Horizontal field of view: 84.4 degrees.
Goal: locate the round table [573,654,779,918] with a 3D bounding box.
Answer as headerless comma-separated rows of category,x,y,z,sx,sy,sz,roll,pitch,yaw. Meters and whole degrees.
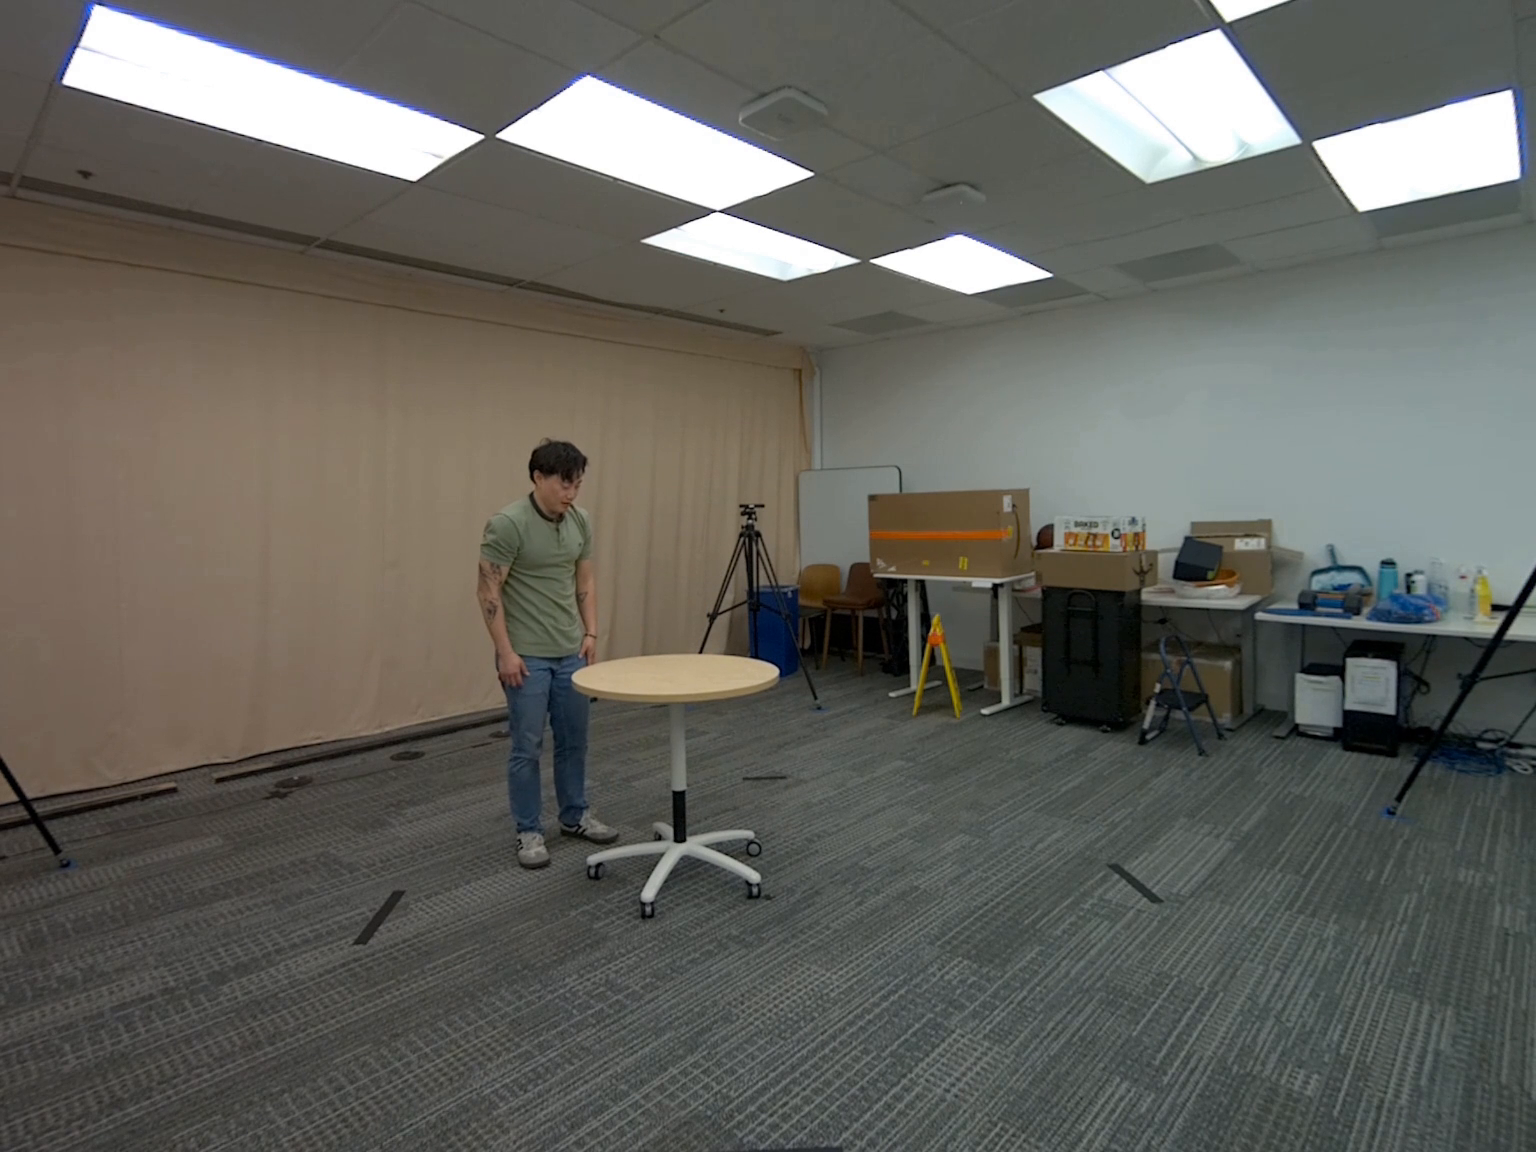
round table,-0.330,0.747,3.136,0.763,0.792,0.766,-1,4,-2
